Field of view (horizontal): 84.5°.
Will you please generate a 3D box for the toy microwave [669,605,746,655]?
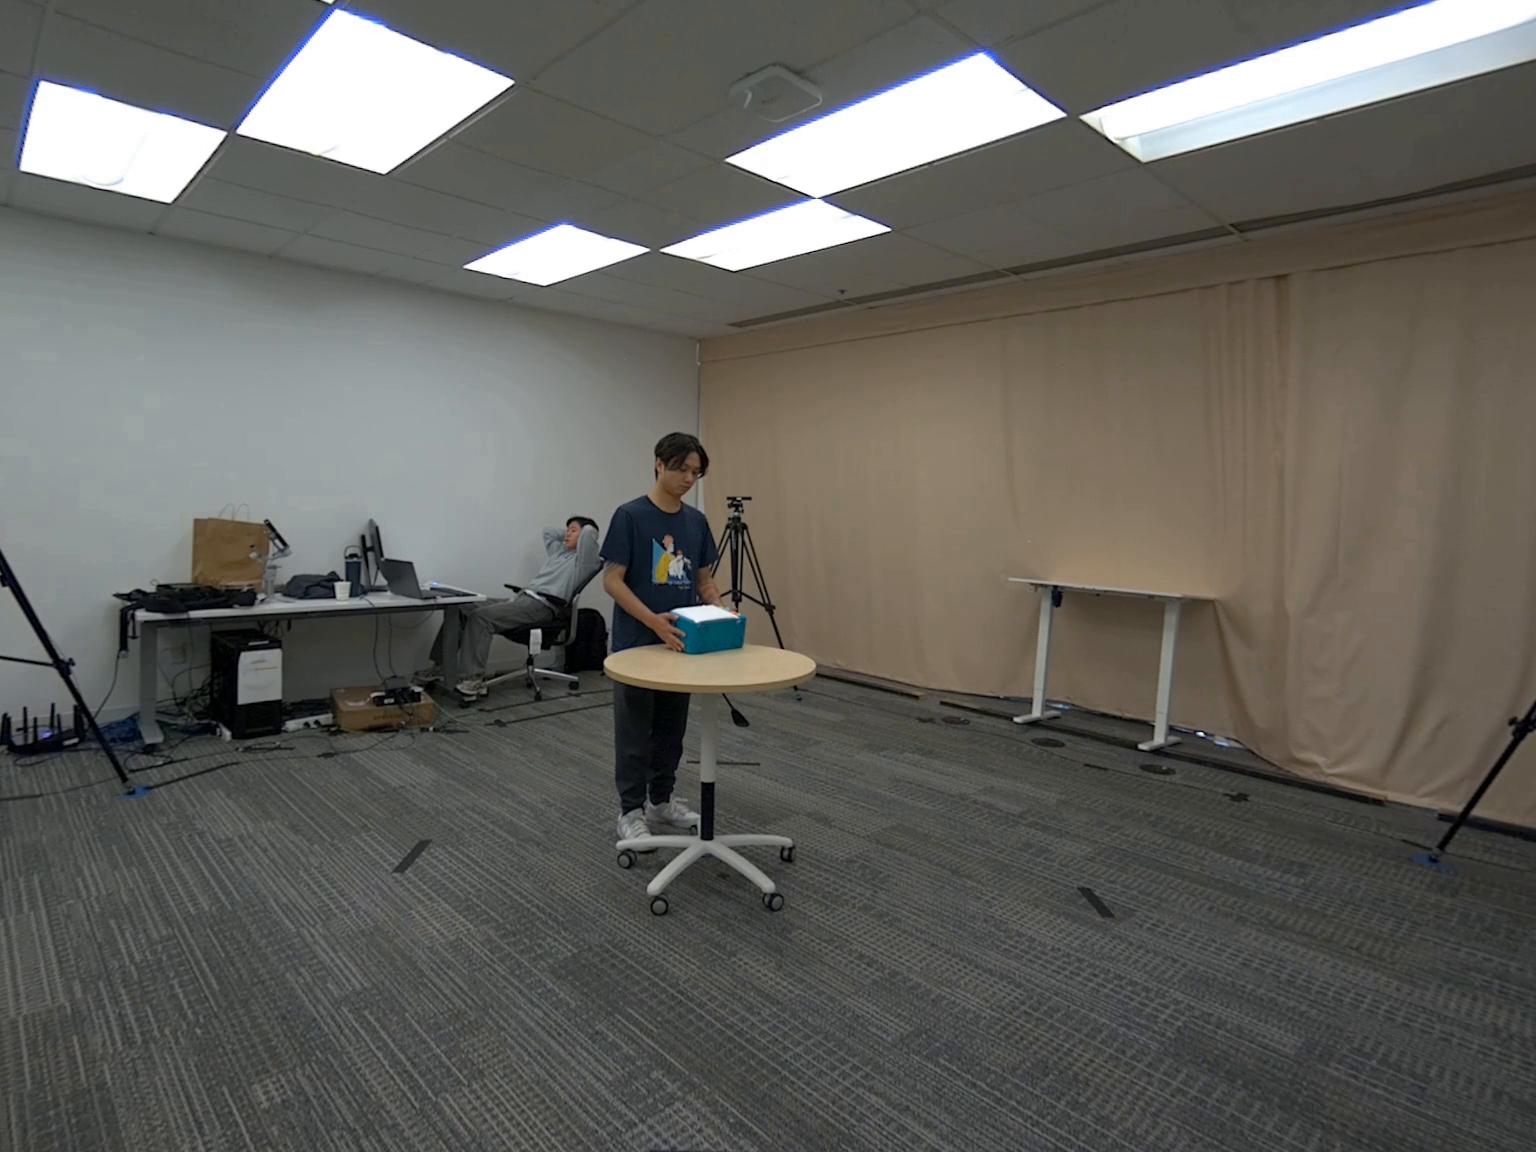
[{"bbox_3d":[-0.246,0.205,3.297,0.280,0.151,0.189,-5,15,-44],"label":"toy microwave"}]
